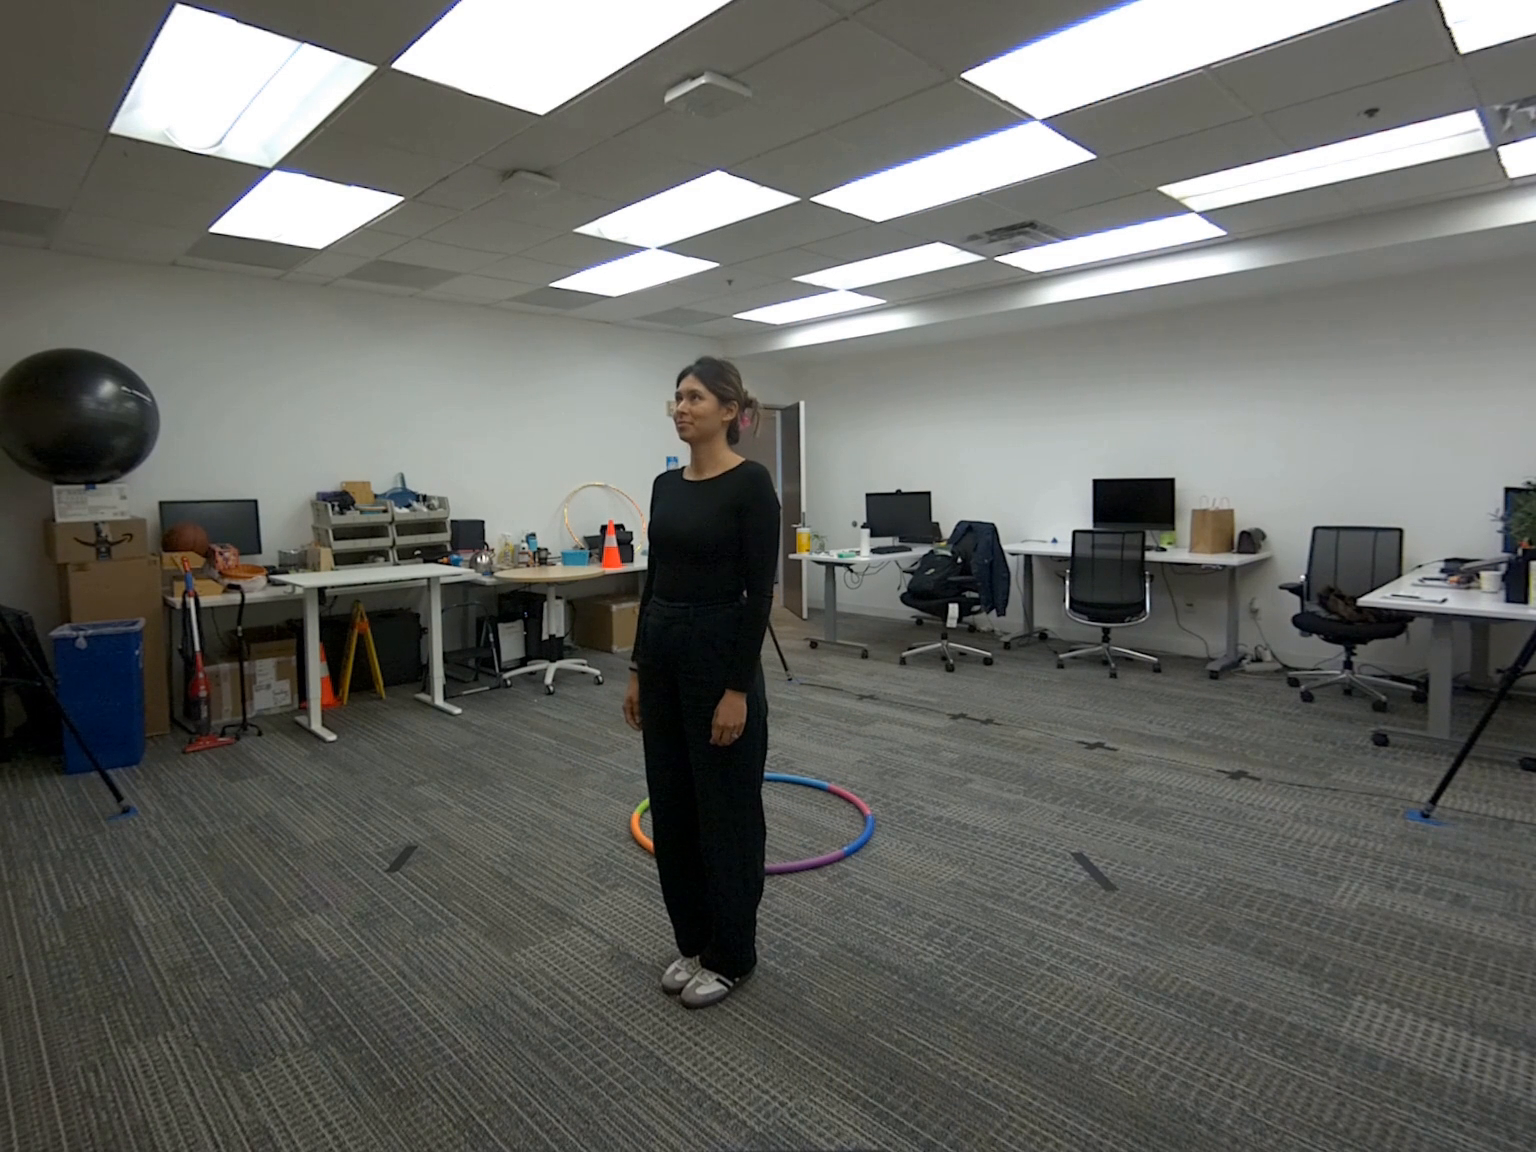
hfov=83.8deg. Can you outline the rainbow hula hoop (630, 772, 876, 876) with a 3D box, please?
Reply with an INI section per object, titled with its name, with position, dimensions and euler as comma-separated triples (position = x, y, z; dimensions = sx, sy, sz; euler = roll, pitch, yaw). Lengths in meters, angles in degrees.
[rainbow hula hoop]
position = -0.065, 0.968, 3.486
dimensions = 0.978, 0.035, 0.984
euler = -1, 7, -2
